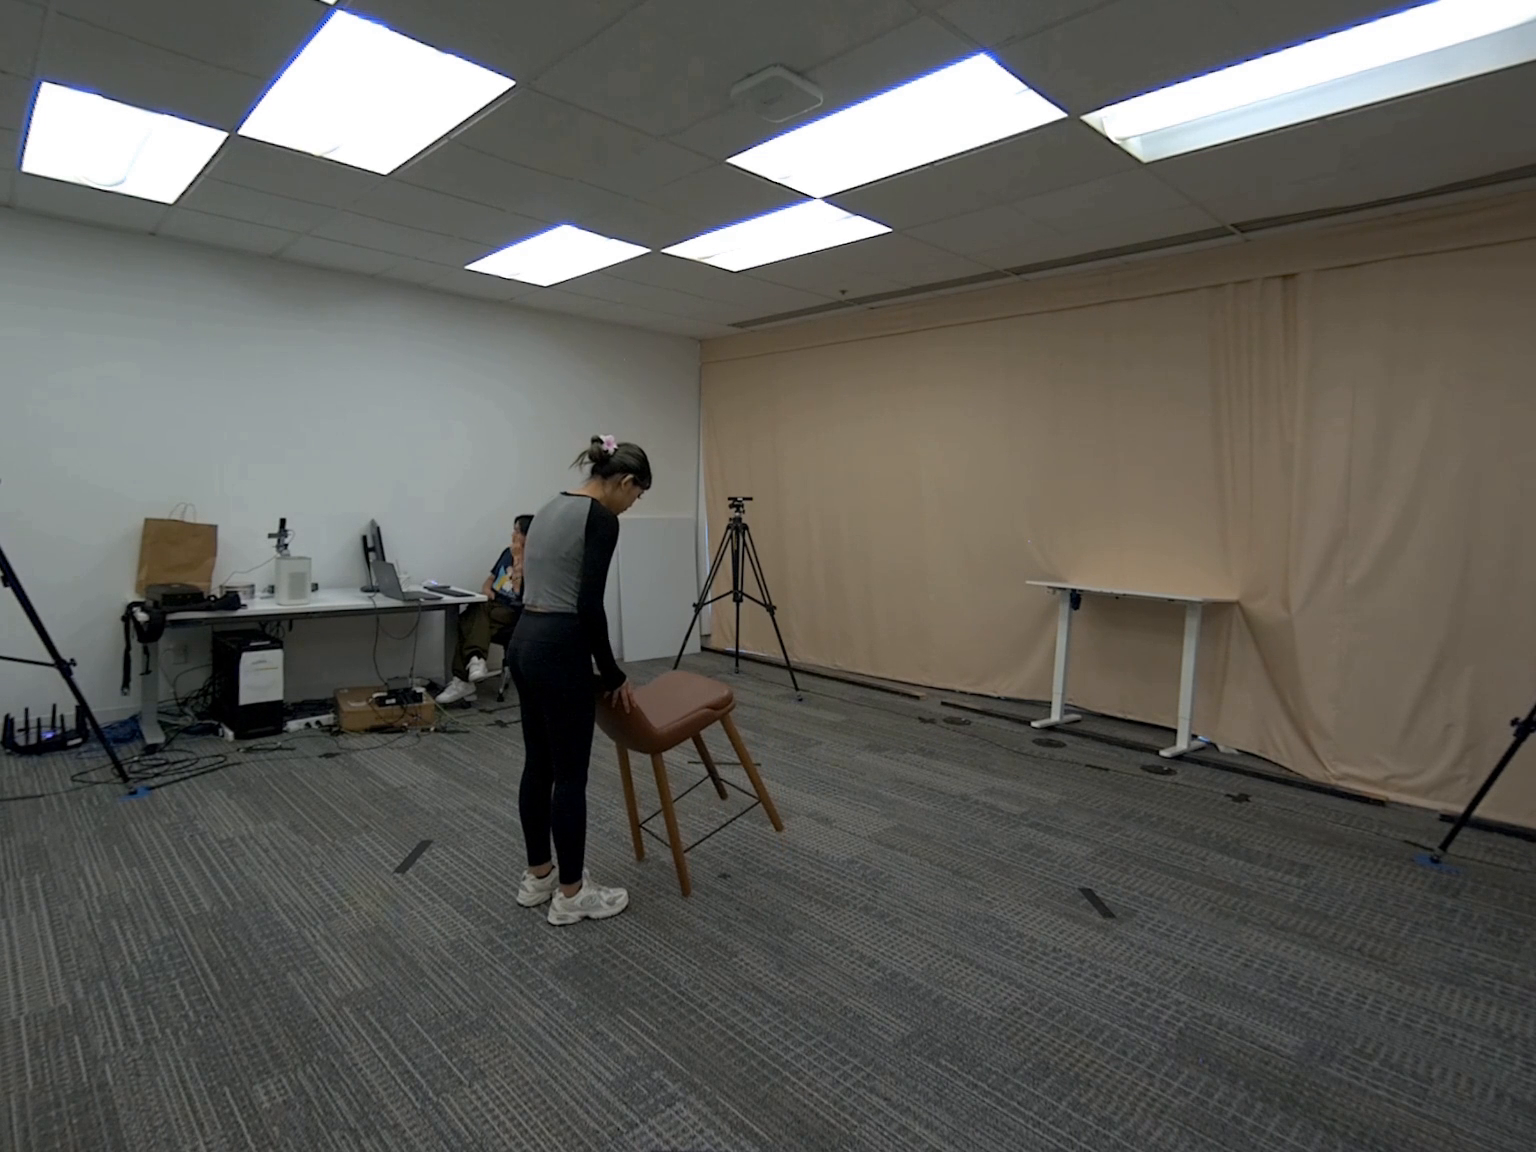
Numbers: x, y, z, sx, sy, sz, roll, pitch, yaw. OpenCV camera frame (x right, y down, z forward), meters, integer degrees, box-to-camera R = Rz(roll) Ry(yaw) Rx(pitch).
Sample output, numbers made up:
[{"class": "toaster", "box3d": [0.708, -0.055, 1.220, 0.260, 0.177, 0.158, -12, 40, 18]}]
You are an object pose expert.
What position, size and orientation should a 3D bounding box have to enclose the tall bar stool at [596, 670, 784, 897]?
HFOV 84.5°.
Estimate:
[{"class": "tall bar stool", "box3d": [-0.358, 0.623, 3.078, 0.463, 0.876, 0.468, -28, 19, -29]}]
